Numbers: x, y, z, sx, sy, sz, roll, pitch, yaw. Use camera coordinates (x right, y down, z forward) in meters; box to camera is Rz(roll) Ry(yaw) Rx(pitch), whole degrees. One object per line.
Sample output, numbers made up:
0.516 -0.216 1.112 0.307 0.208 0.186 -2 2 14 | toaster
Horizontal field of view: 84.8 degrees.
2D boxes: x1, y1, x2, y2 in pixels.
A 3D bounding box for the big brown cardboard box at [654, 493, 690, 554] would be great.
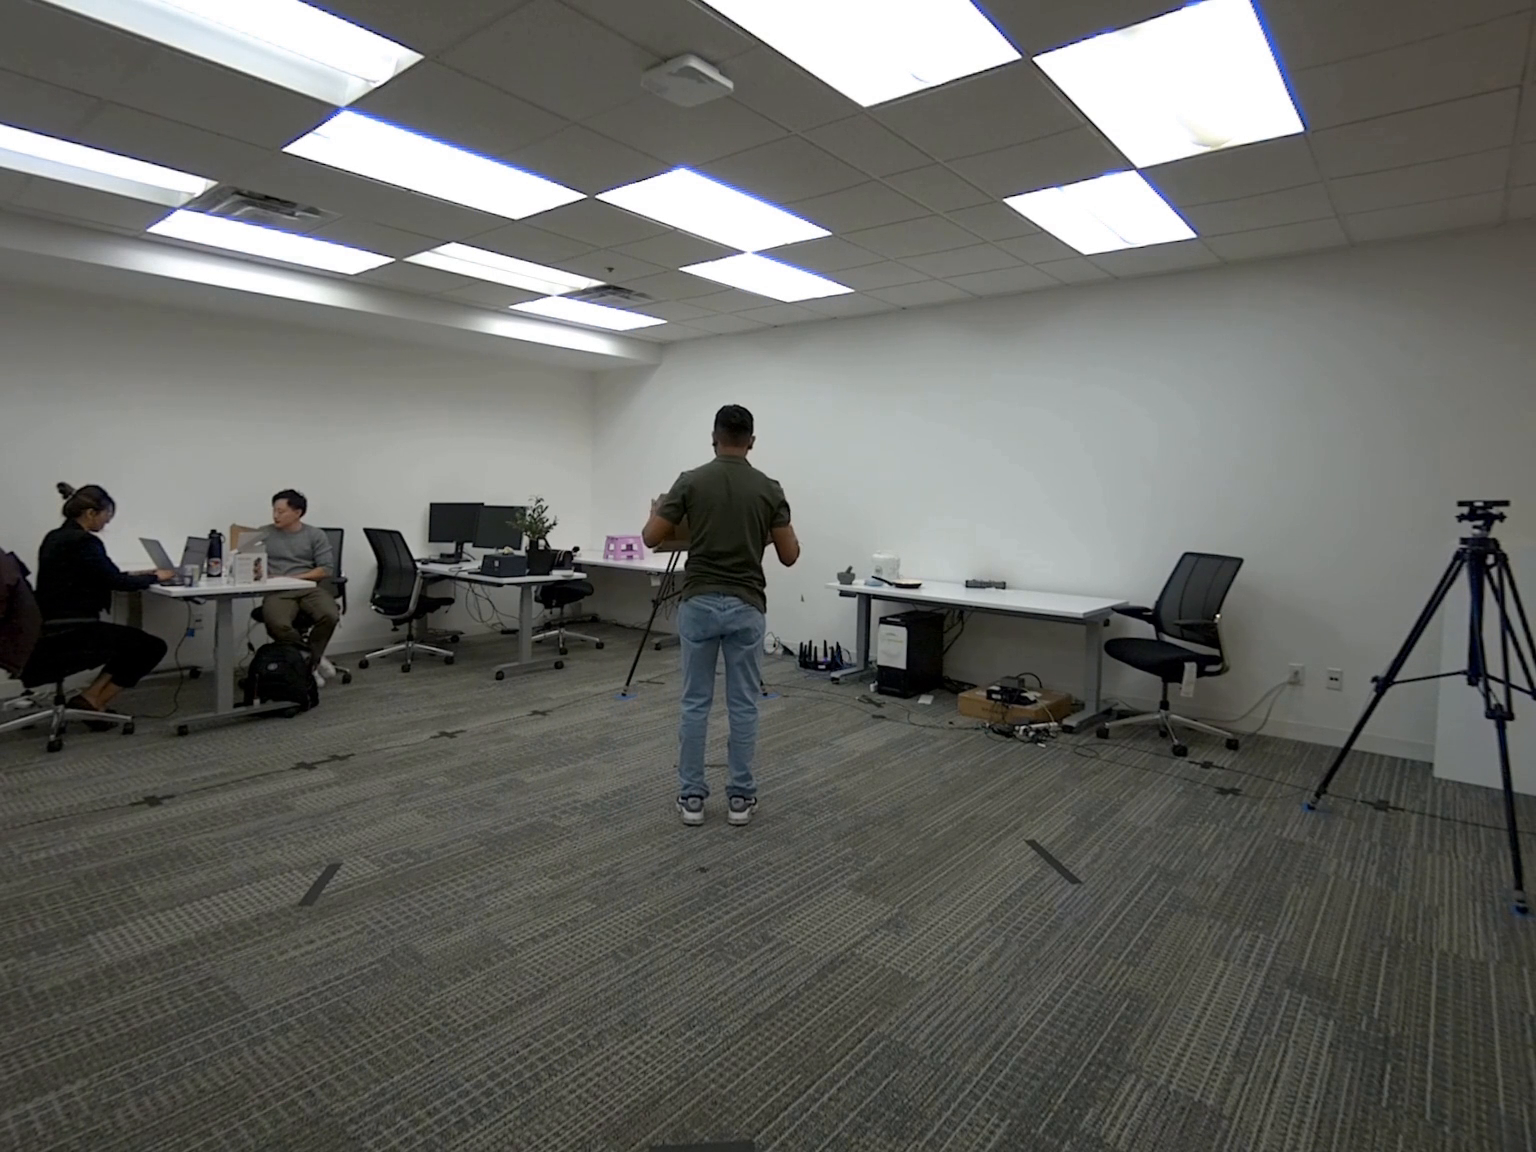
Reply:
-0.244 -0.243 3.958 0.581 0.235 0.420 -5 -5 -14 | big brown cardboard box
